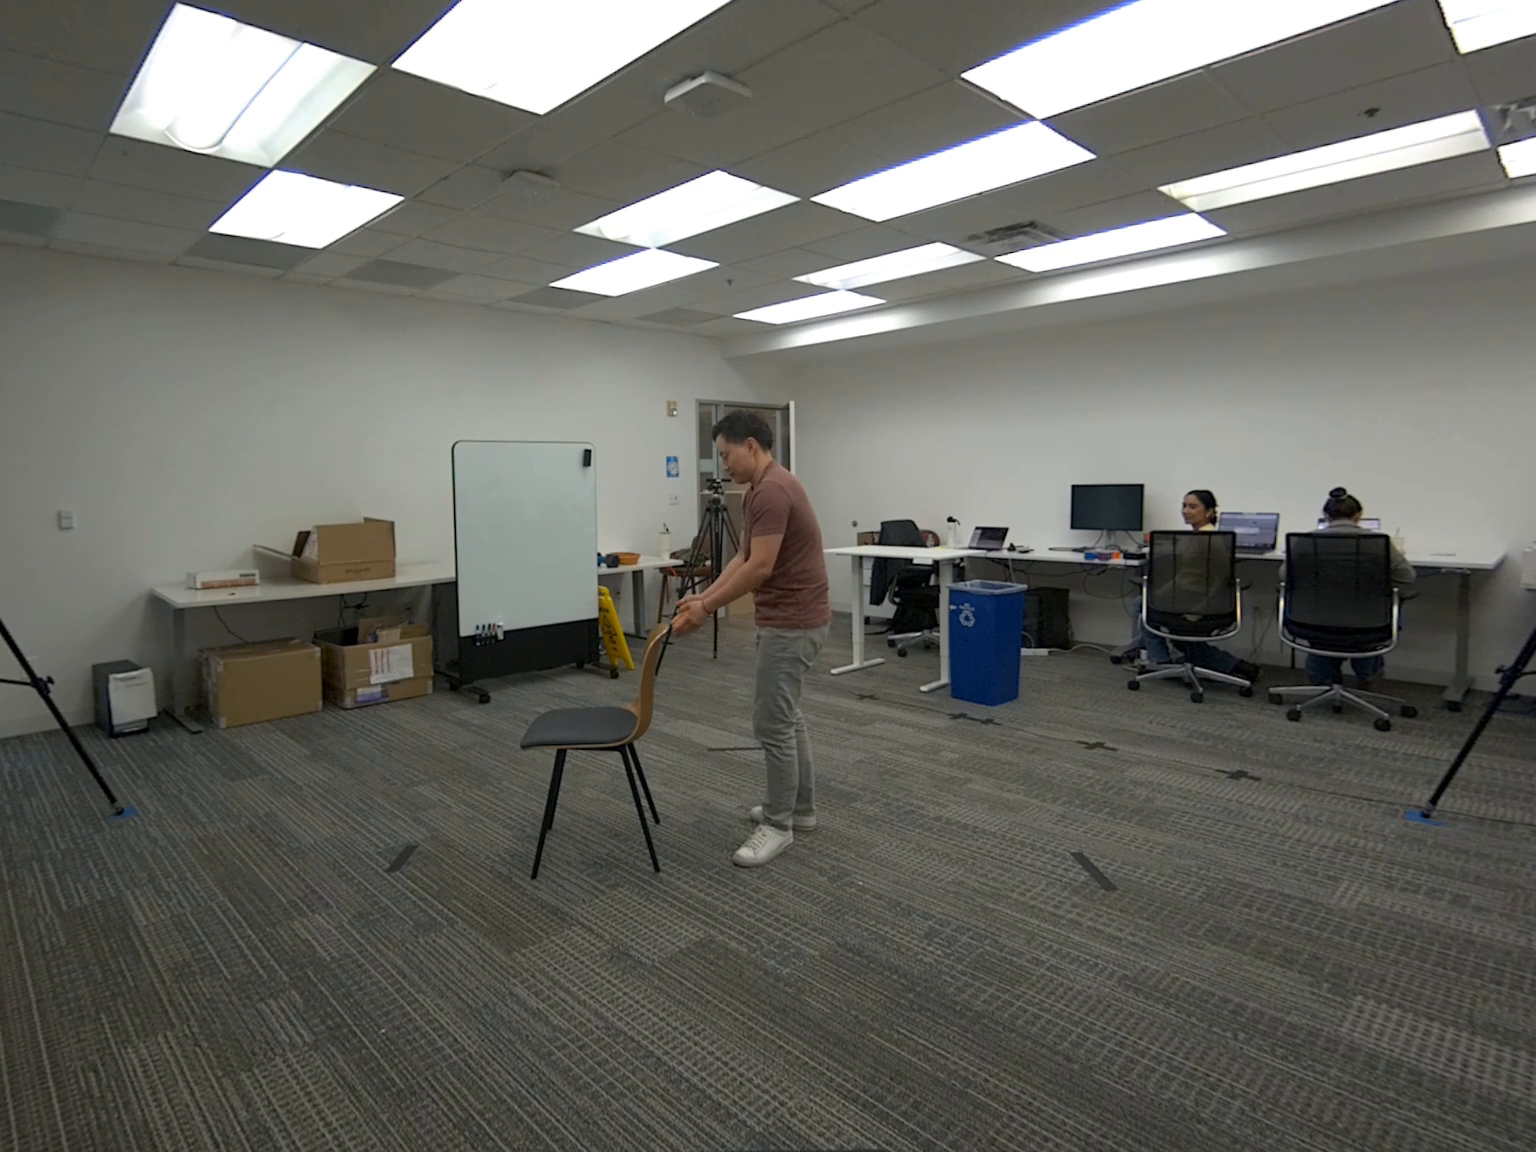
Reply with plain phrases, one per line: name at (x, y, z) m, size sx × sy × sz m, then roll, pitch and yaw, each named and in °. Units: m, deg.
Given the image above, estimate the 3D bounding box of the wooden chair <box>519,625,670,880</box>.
wooden chair at (-0.652, 0.617, 3.209) m, size 0.520 × 0.874 × 0.482 m, roll 3°, pitch 4°, yaw -6°
